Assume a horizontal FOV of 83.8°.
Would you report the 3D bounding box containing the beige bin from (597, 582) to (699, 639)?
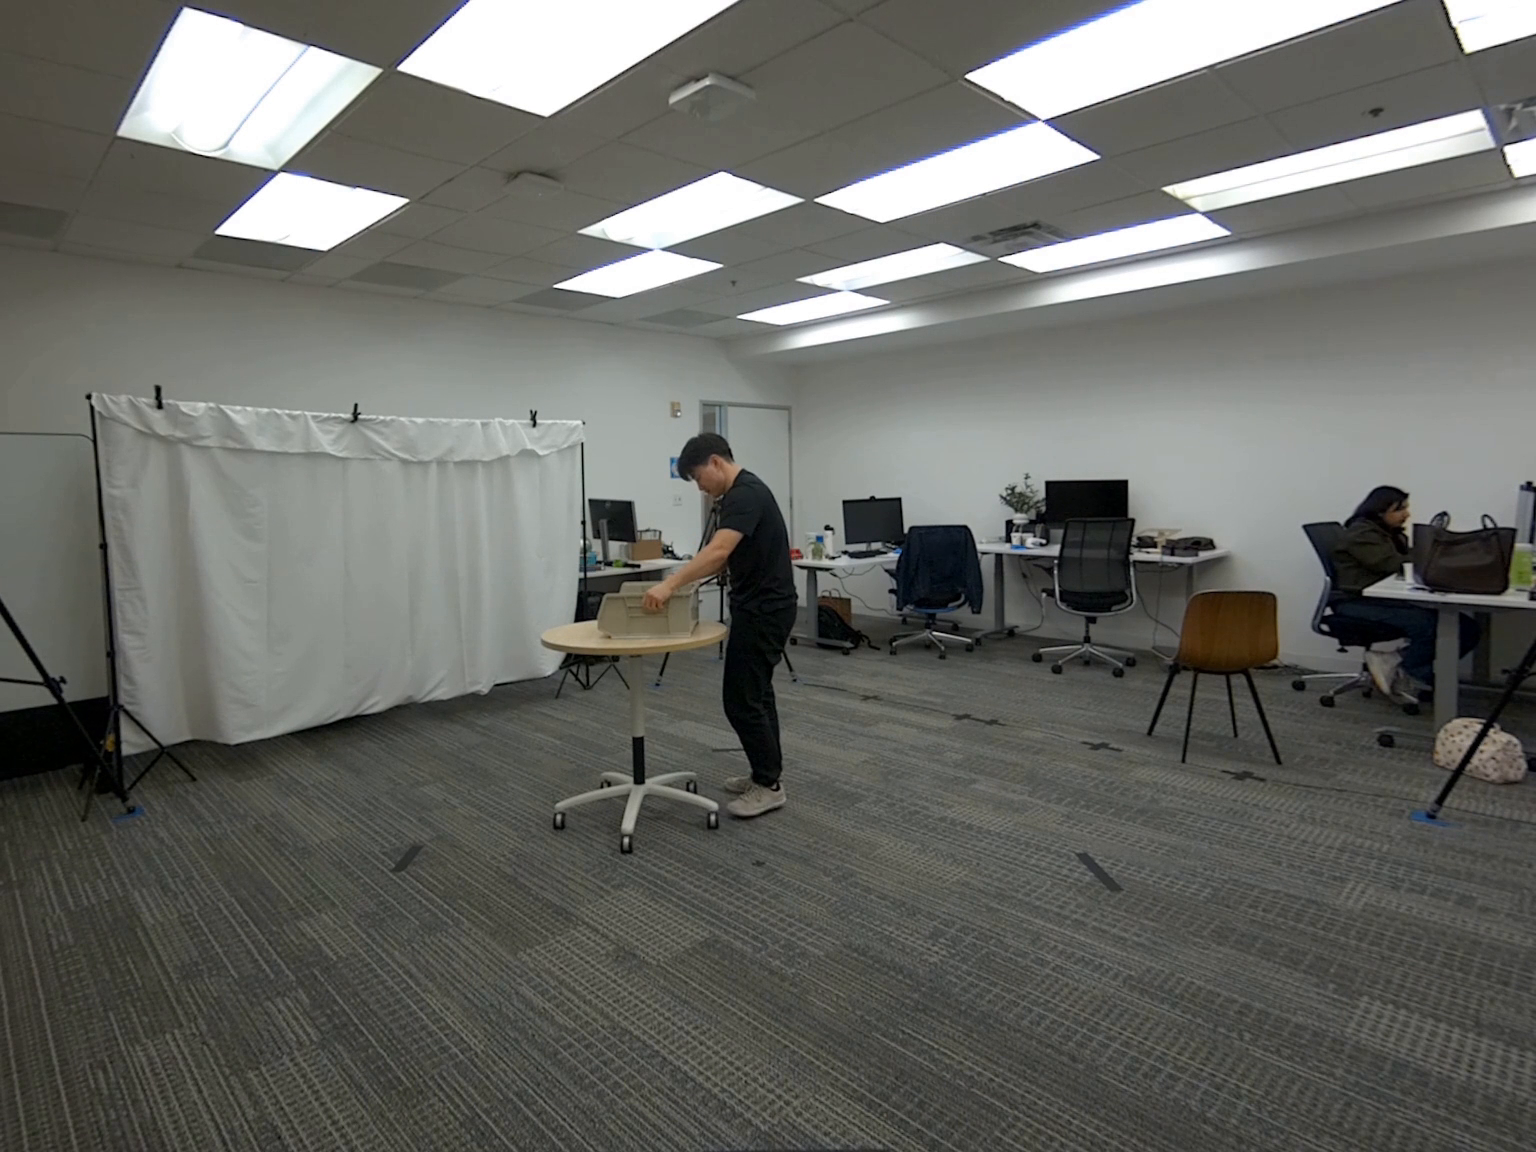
[{"bbox_3d":[-0.484,0.141,3.543,0.378,0.188,0.423,-1,5,2],"label":"beige bin"}]
